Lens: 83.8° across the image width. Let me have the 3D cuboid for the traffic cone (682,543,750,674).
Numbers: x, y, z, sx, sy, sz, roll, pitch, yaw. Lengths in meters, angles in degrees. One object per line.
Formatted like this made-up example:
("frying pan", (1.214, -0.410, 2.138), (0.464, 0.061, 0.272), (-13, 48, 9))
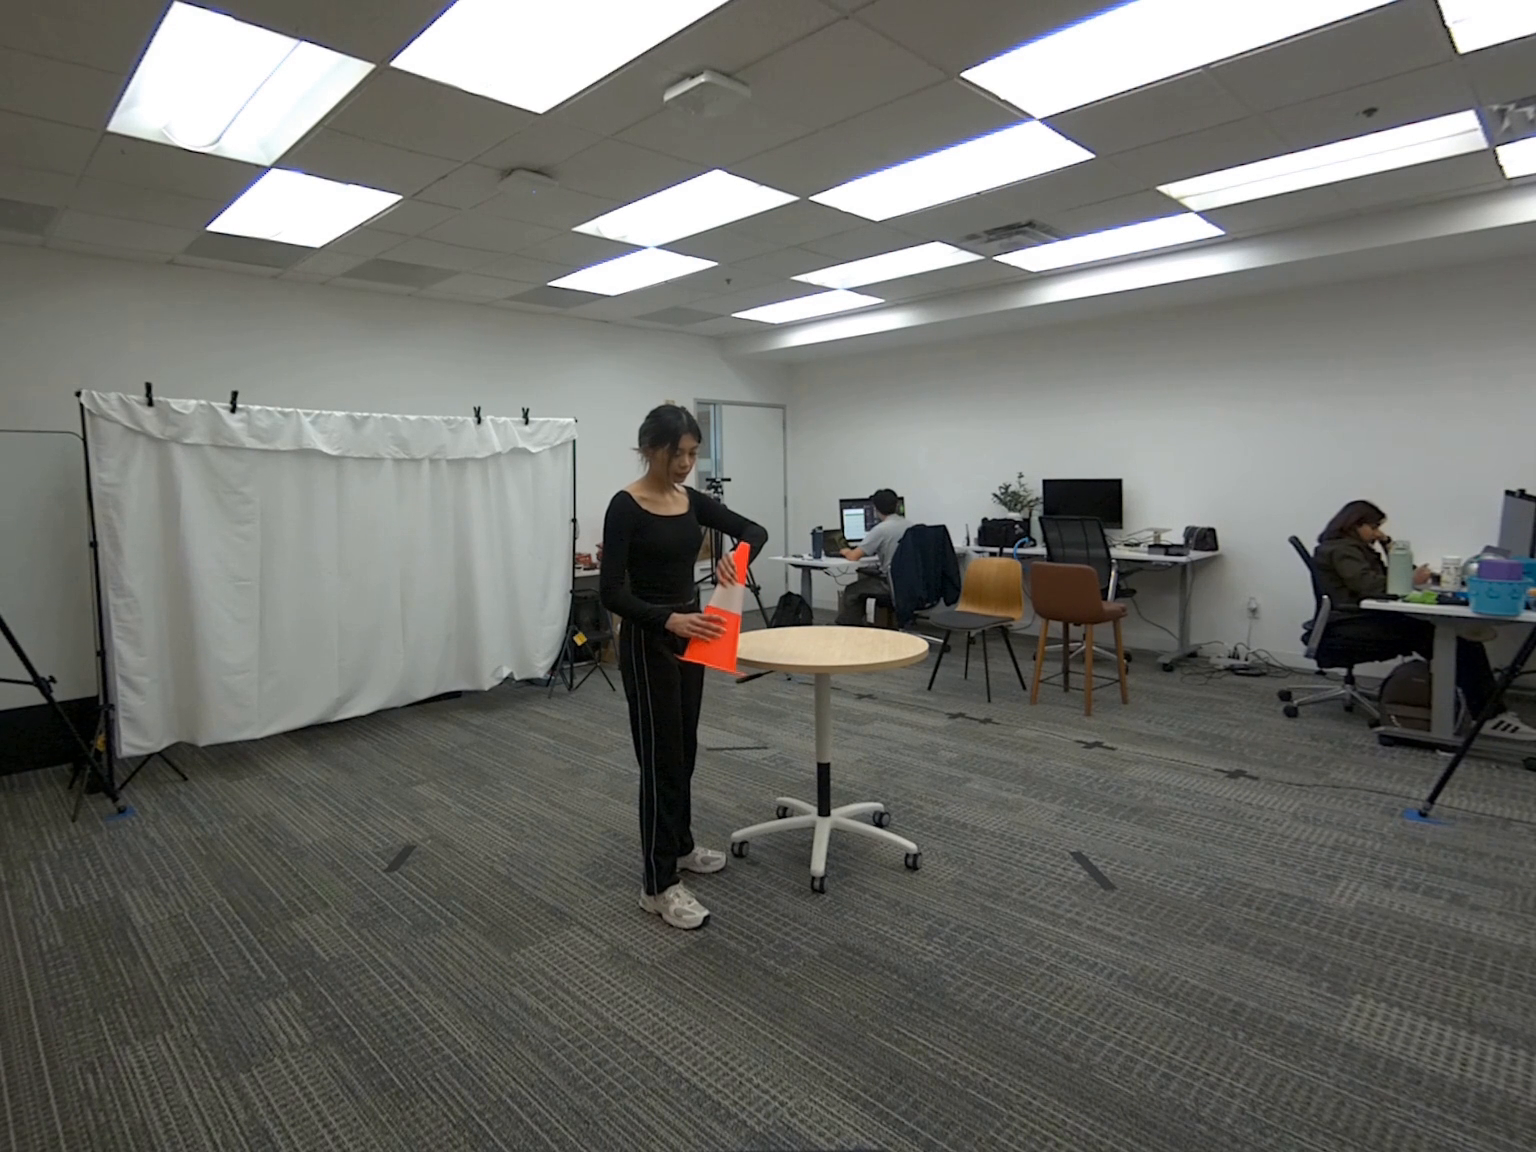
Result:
("traffic cone", (-0.116, 0.088, 2.547), (0.202, 0.385, 0.205), (16, -8, -7))
